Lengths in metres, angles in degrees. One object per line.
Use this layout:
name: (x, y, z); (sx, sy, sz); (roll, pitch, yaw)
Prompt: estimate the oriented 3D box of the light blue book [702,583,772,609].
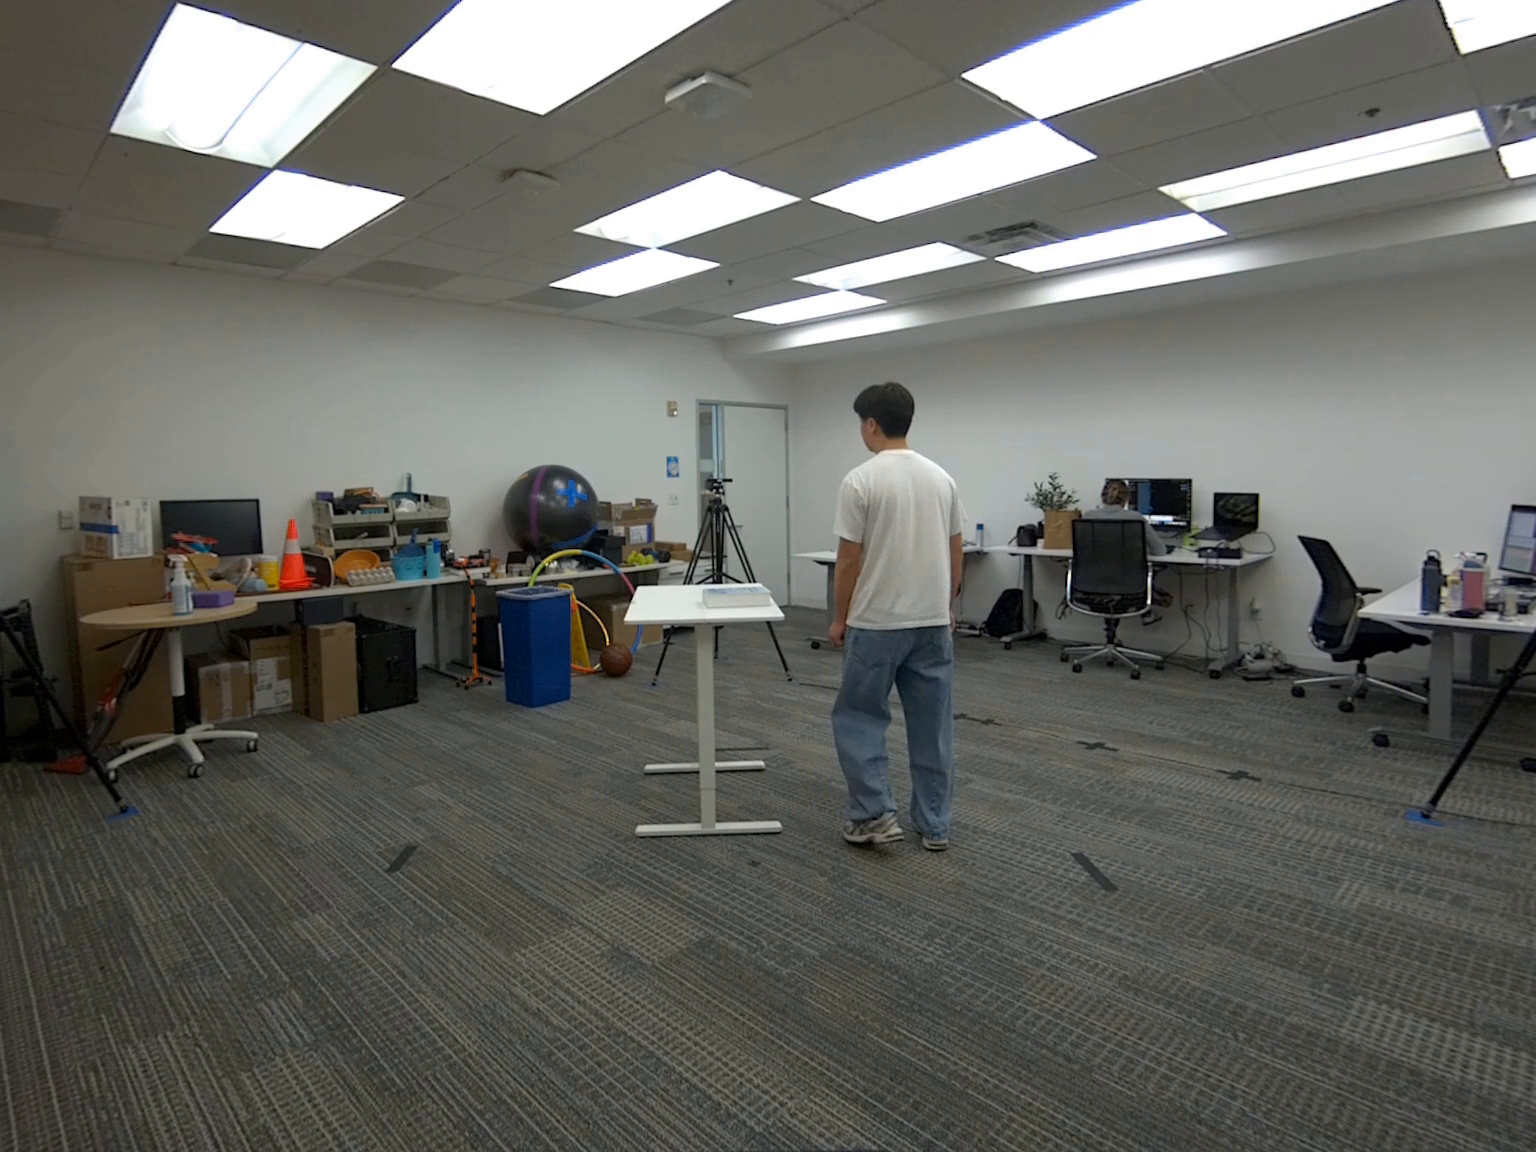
light blue book: (-0.118, 0.088, 3.556); (0.259, 0.058, 0.194); (-4, 9, -10)
